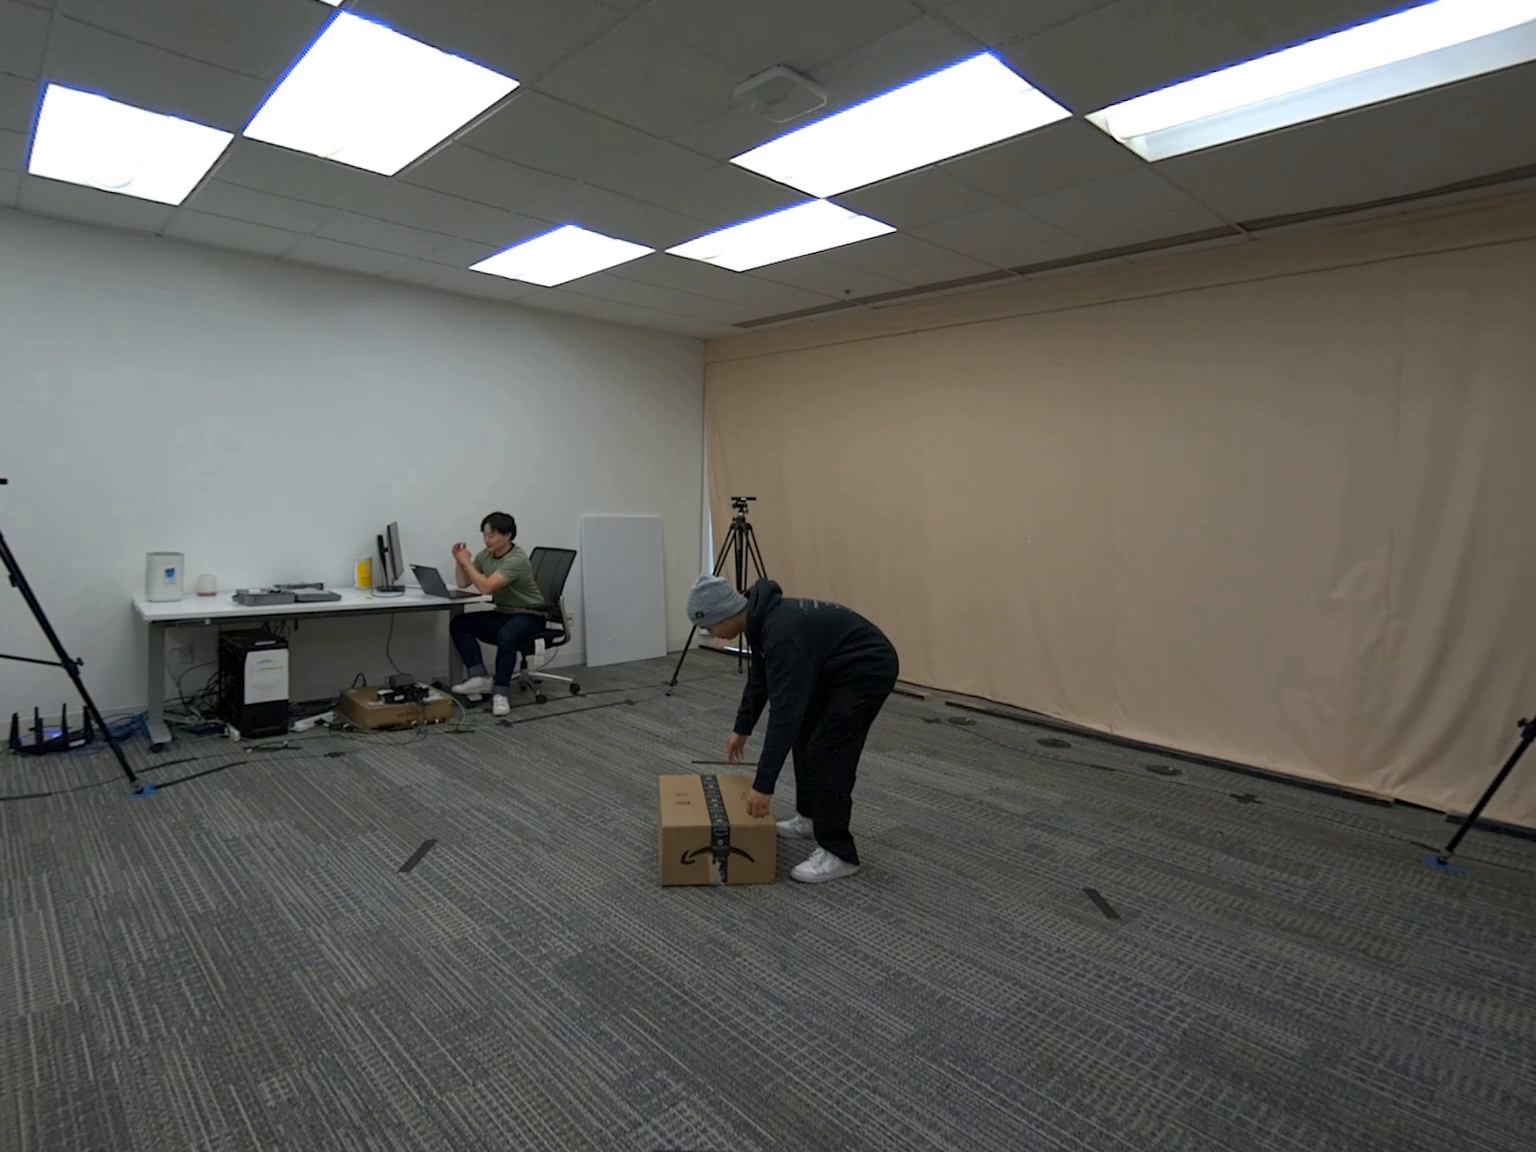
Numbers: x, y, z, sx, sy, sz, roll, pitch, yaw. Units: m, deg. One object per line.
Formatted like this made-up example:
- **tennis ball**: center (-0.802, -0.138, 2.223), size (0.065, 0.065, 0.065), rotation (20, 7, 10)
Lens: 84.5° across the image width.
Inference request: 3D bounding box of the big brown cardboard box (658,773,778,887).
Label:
- **big brown cardboard box**: center (-0.224, 0.978, 3.295), size (0.415, 0.233, 0.593), rotation (1, 4, -8)
